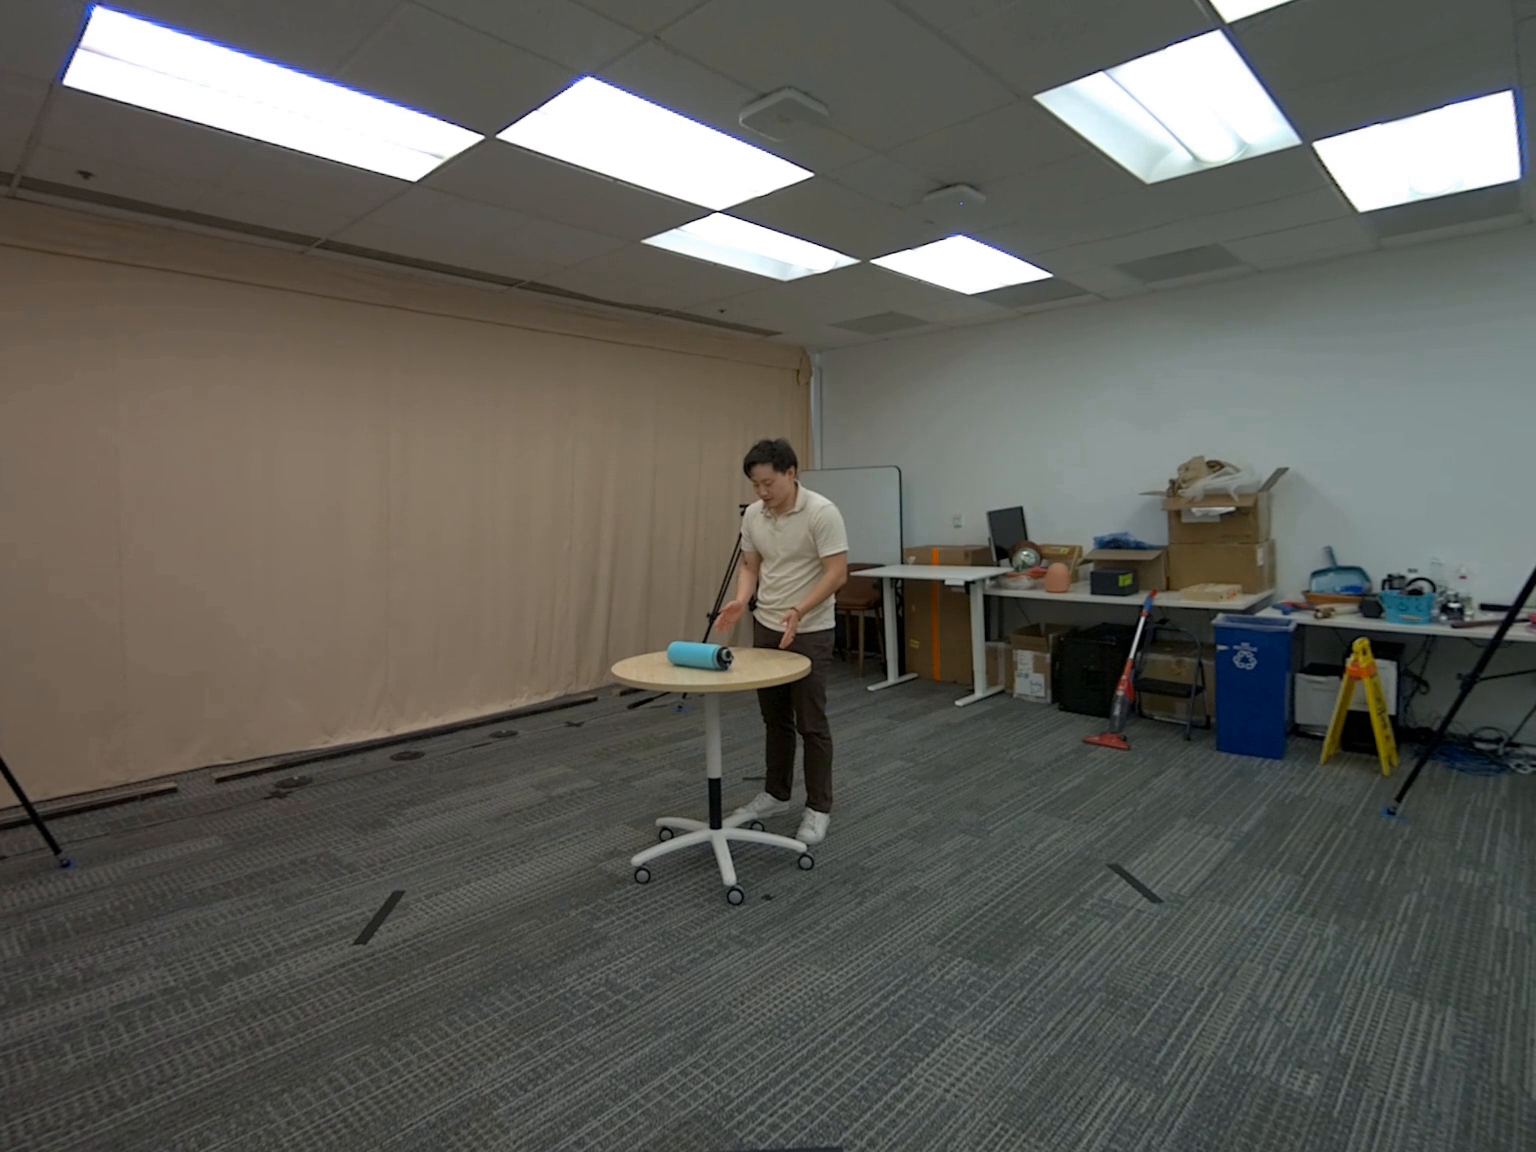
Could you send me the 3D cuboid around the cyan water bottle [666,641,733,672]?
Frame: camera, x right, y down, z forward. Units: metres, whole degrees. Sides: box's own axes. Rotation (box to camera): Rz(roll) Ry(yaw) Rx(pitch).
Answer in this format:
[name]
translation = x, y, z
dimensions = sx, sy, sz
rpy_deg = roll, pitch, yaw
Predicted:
[cyan water bottle]
translation = -0.248, 0.298, 3.162
dimensions = 0.292, 0.092, 0.089
rpy_deg = 1, 4, 40
